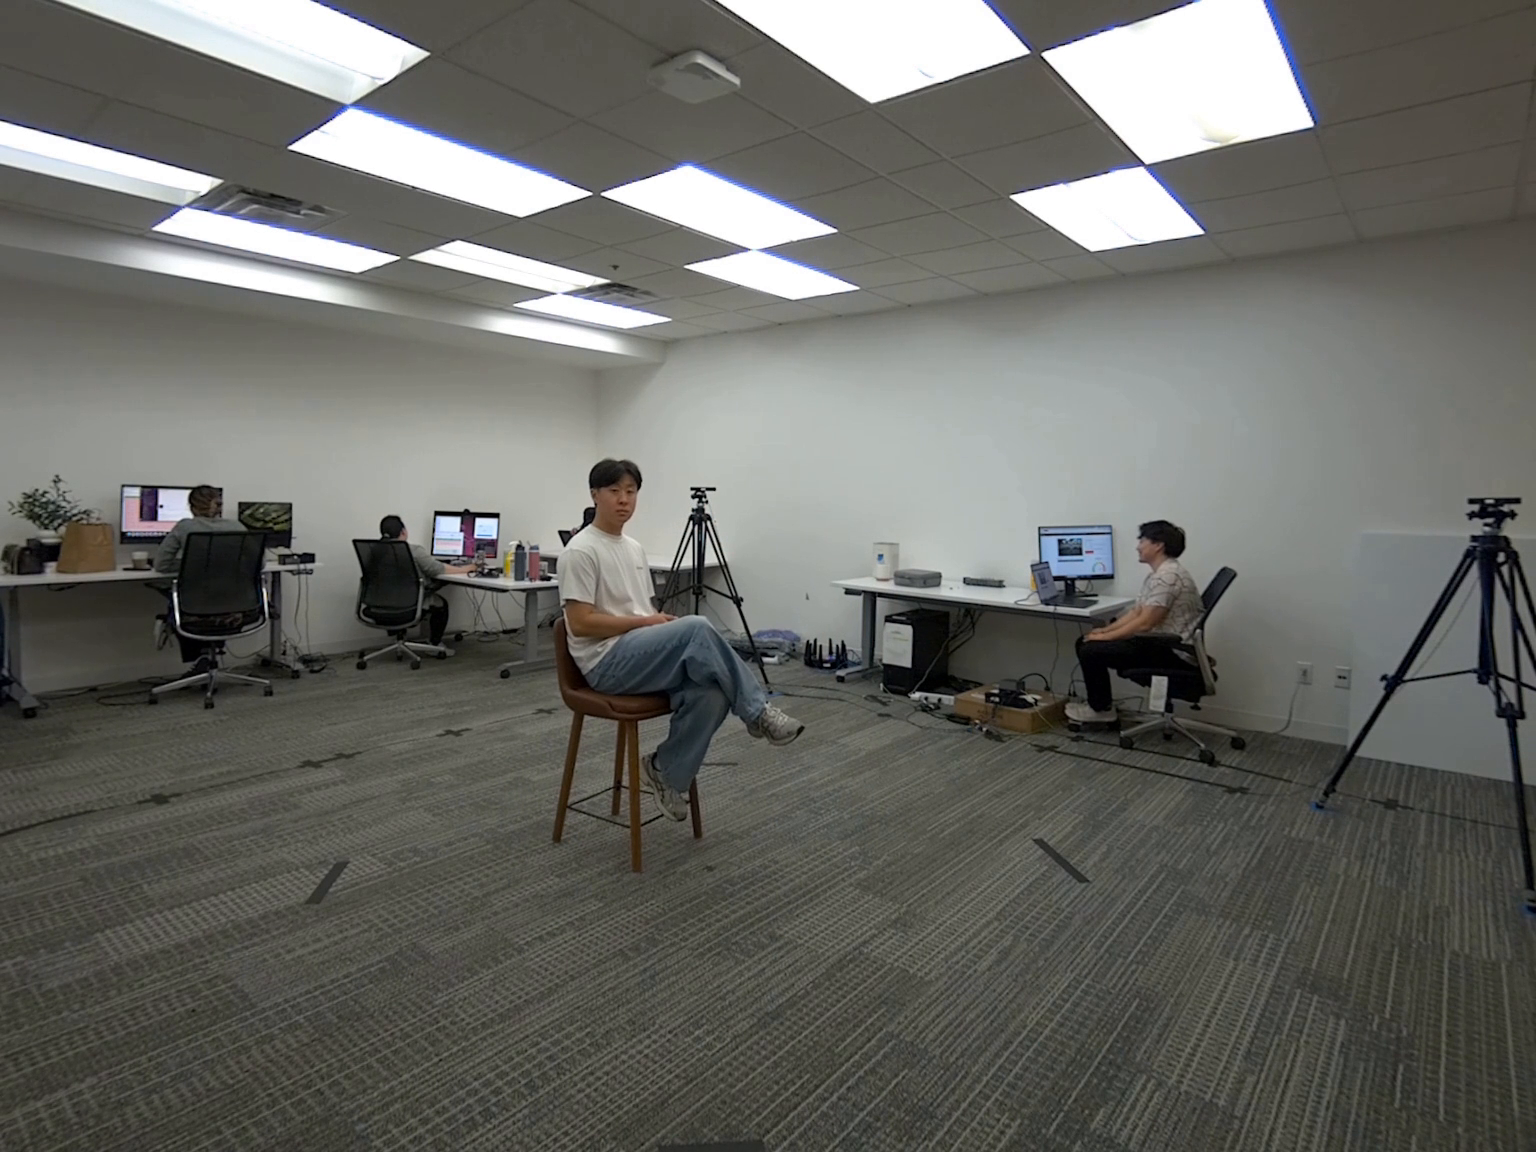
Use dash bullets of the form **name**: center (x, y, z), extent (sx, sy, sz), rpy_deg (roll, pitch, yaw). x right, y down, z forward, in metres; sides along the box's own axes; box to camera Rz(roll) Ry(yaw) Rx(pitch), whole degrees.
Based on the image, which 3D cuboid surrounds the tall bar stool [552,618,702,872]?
- **tall bar stool**: center (-0.570, 0.605, 3.343), extent (0.481, 0.890, 0.443), rpy_deg (0, 1, 33)
